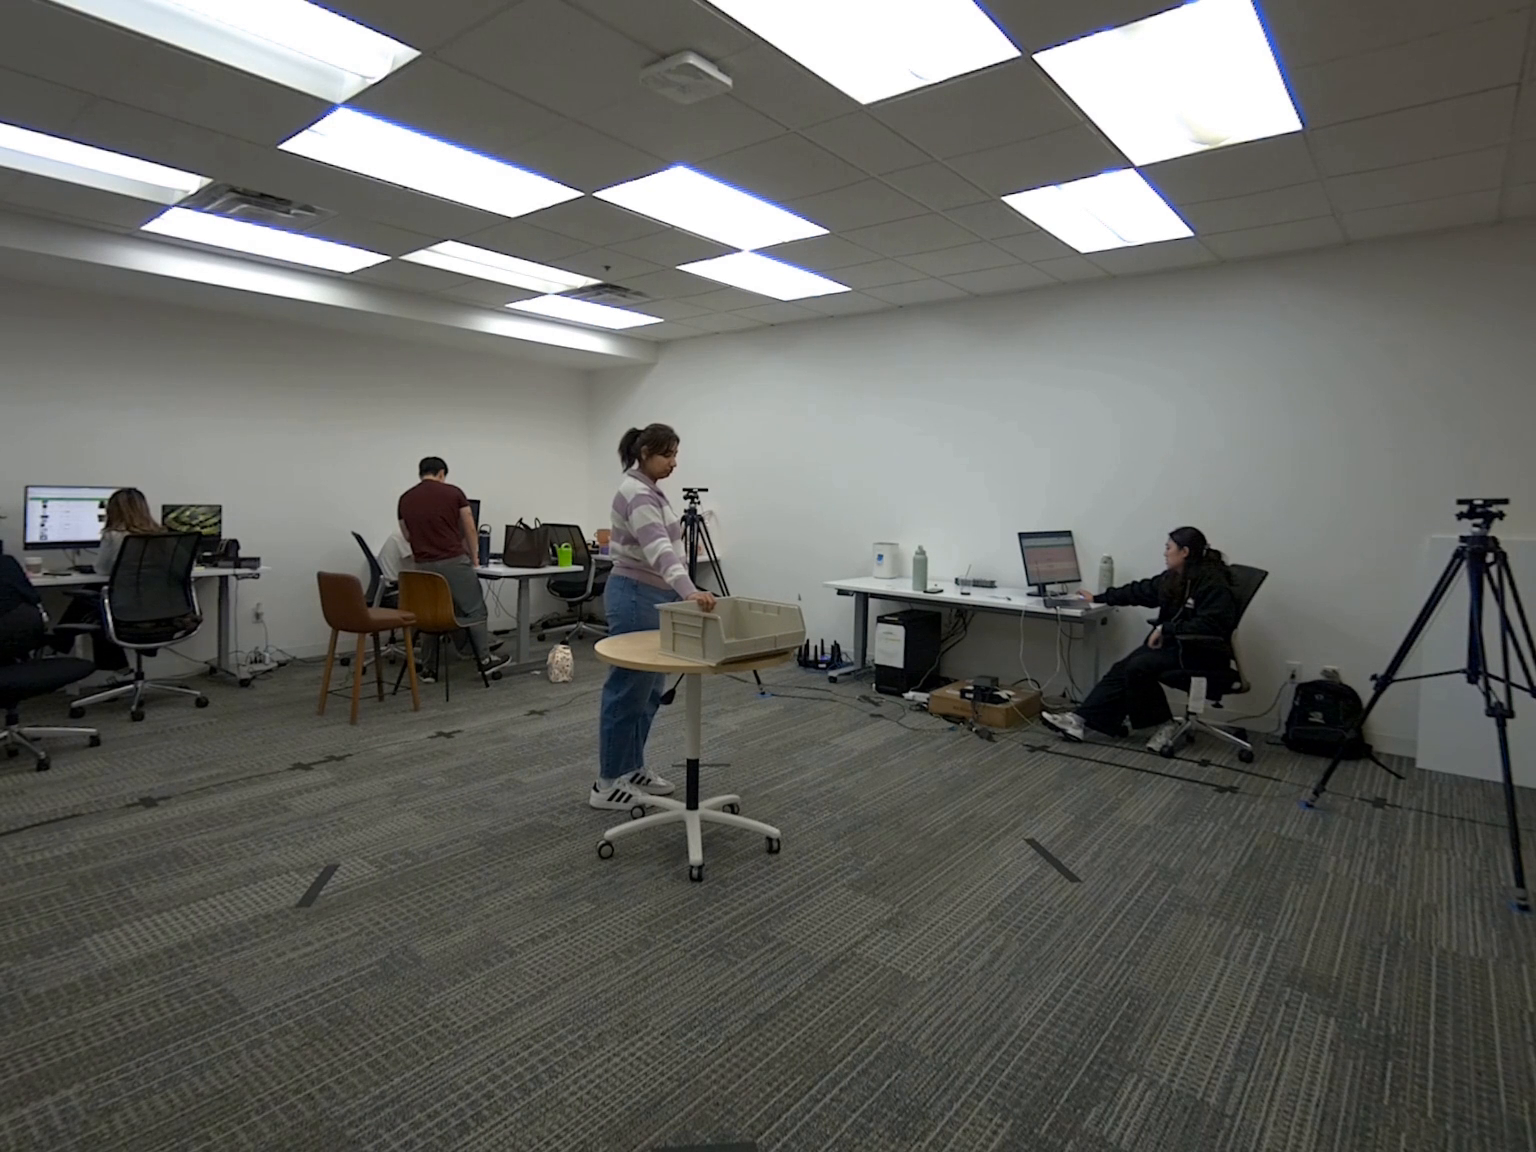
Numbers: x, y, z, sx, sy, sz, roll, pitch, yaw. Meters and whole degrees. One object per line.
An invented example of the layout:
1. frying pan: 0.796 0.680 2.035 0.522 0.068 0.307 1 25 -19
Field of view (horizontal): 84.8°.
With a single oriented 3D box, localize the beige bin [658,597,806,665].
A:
1. beige bin: -0.151 0.196 3.137 0.390 0.188 0.410 4 7 45
